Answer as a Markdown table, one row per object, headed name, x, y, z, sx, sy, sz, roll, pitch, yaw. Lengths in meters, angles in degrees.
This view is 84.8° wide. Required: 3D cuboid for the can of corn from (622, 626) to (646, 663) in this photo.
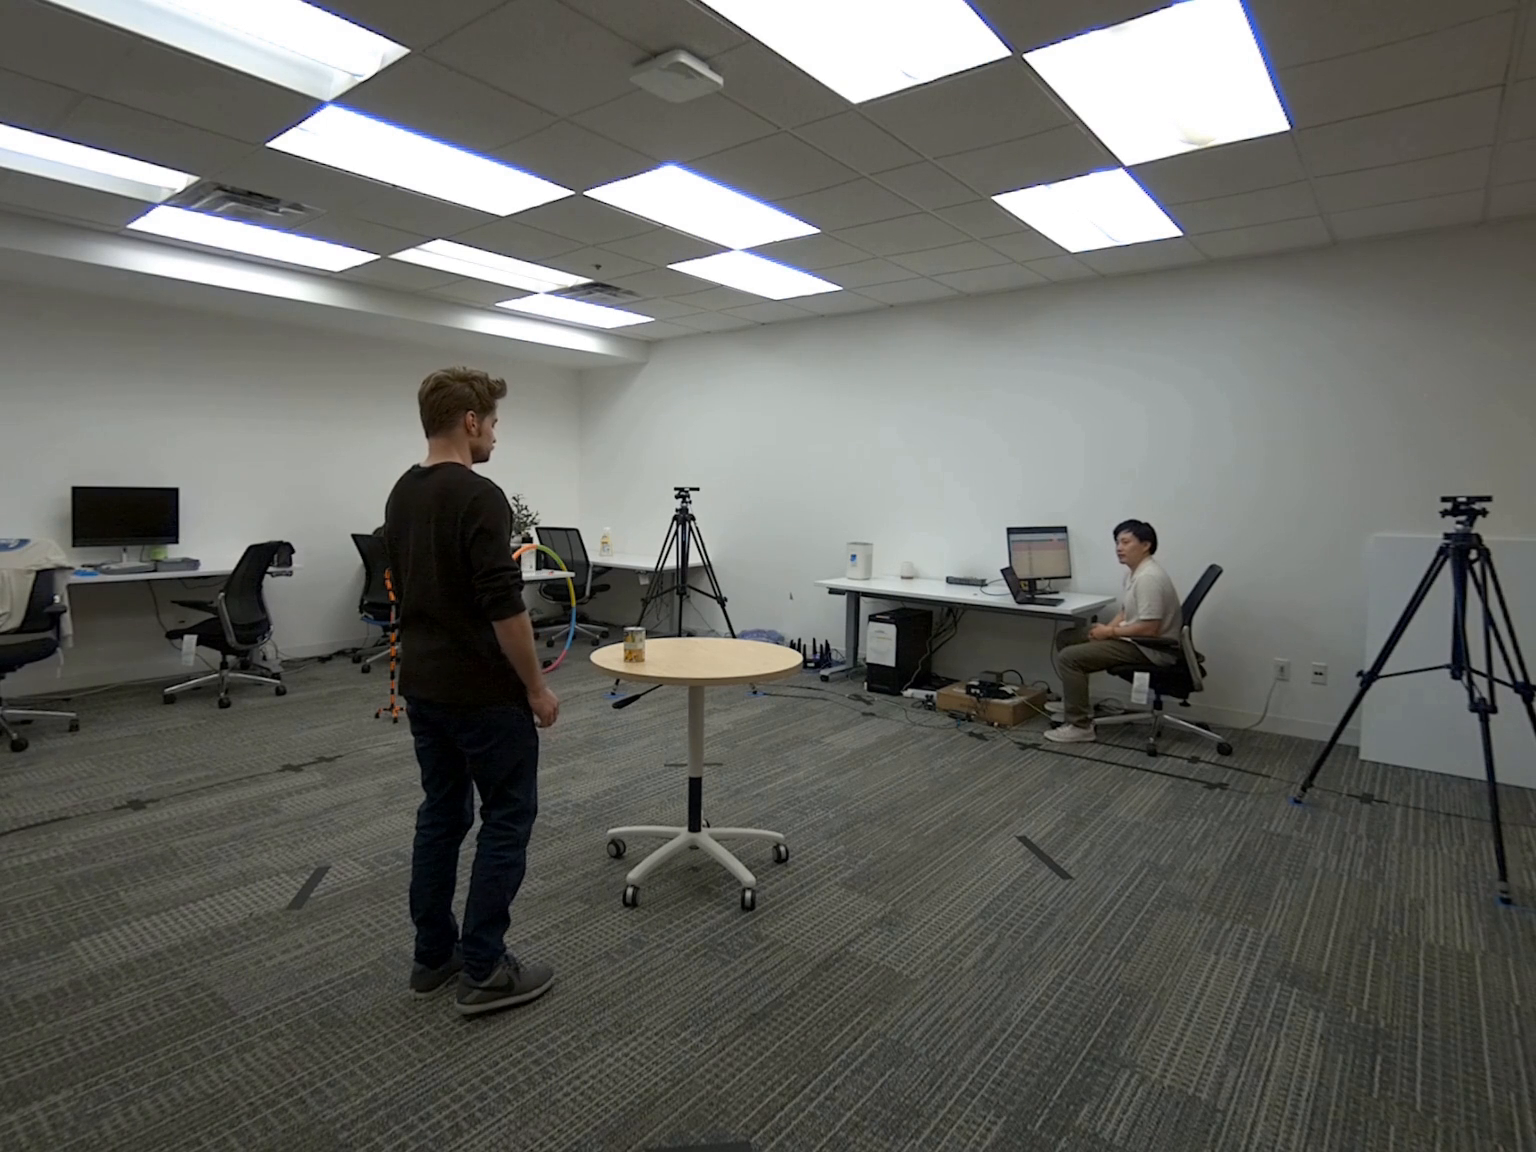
| name | x | y | z | sx | sy | sz | roll | pitch | yaw |
| --- | --- | --- | --- | --- | --- | --- | --- | --- | --- |
| can of corn | -0.479 | 0.237 | 2.962 | 0.074 | 0.111 | 0.074 | -3 | 3 | -2 |
